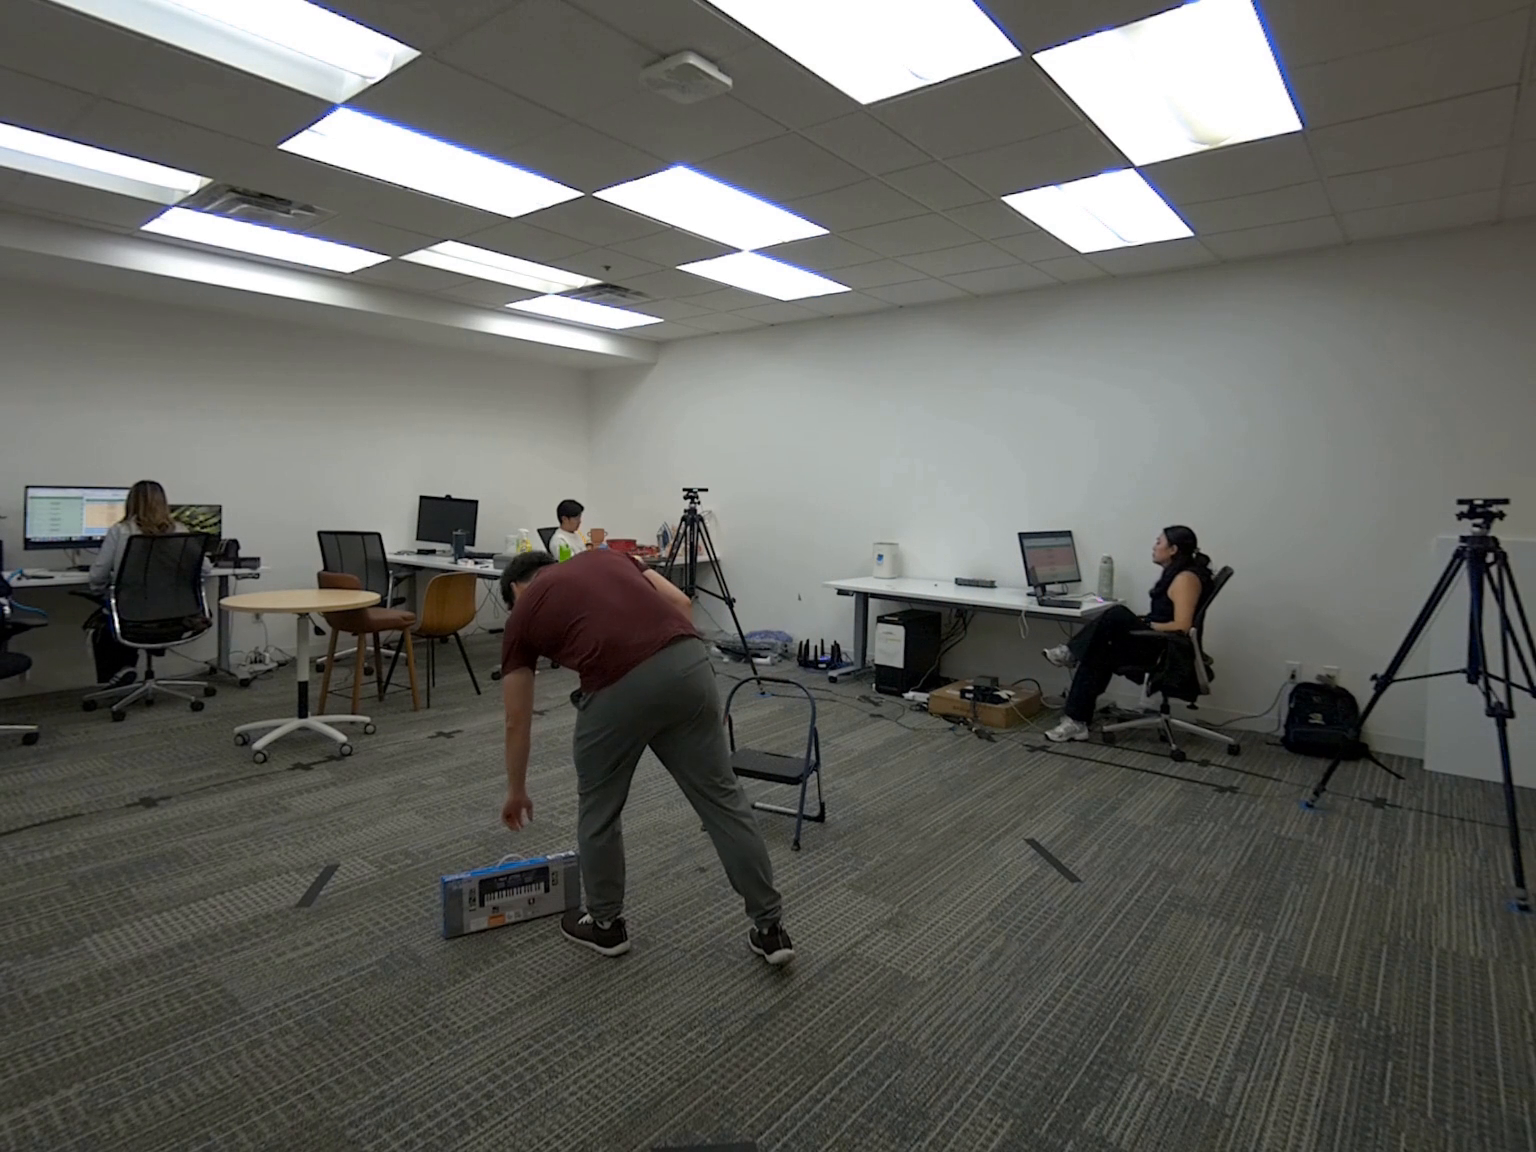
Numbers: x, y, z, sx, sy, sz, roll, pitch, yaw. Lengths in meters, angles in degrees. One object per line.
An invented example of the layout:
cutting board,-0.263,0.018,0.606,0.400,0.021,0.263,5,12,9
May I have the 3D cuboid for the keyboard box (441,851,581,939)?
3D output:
keyboard box,-0.824,1.012,2.722,0.425,0.176,0.060,-2,-3,-29
